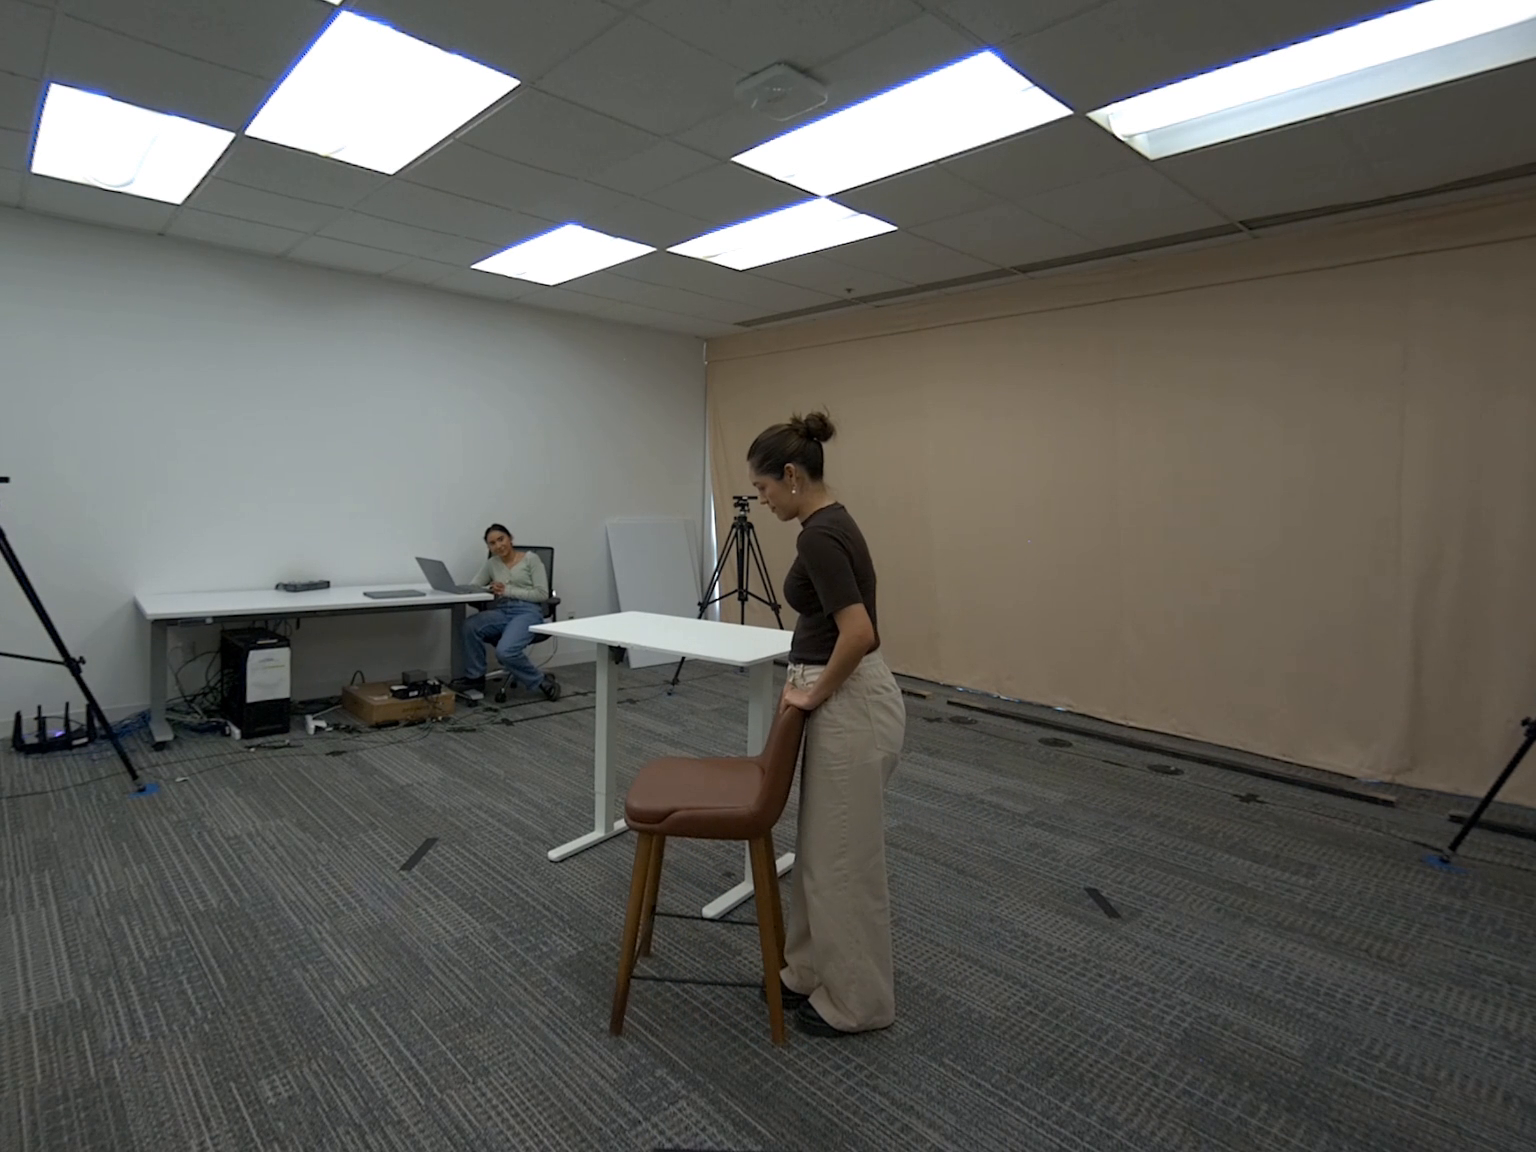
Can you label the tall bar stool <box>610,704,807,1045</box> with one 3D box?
[{"bbox_3d":[-0.155,0.743,2.316,0.469,0.886,0.457,4,5,3],"label":"tall bar stool"}]
